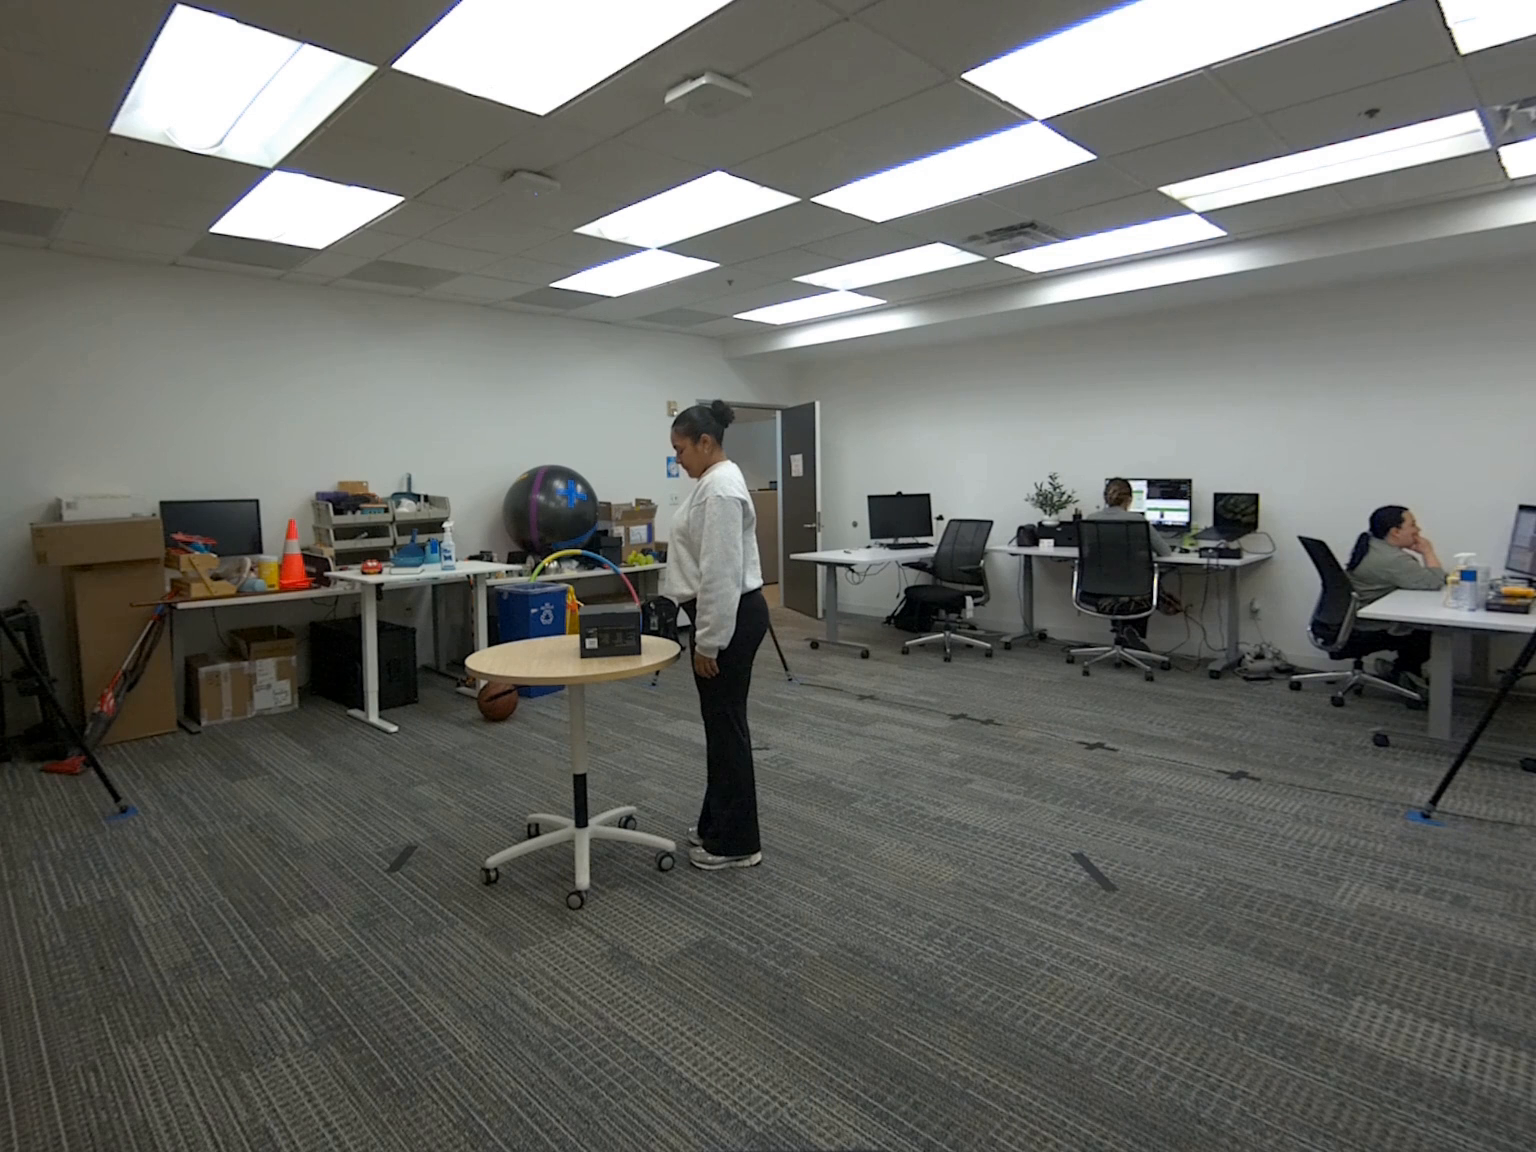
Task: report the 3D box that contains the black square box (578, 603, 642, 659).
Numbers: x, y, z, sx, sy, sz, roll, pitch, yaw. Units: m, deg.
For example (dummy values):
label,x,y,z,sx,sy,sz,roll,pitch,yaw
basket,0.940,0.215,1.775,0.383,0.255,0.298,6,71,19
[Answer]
label,x,y,z,sx,sy,sz,roll,pitch,yaw
black square box,-0.575,0.190,3.103,0.215,0.155,0.231,-3,5,-10
